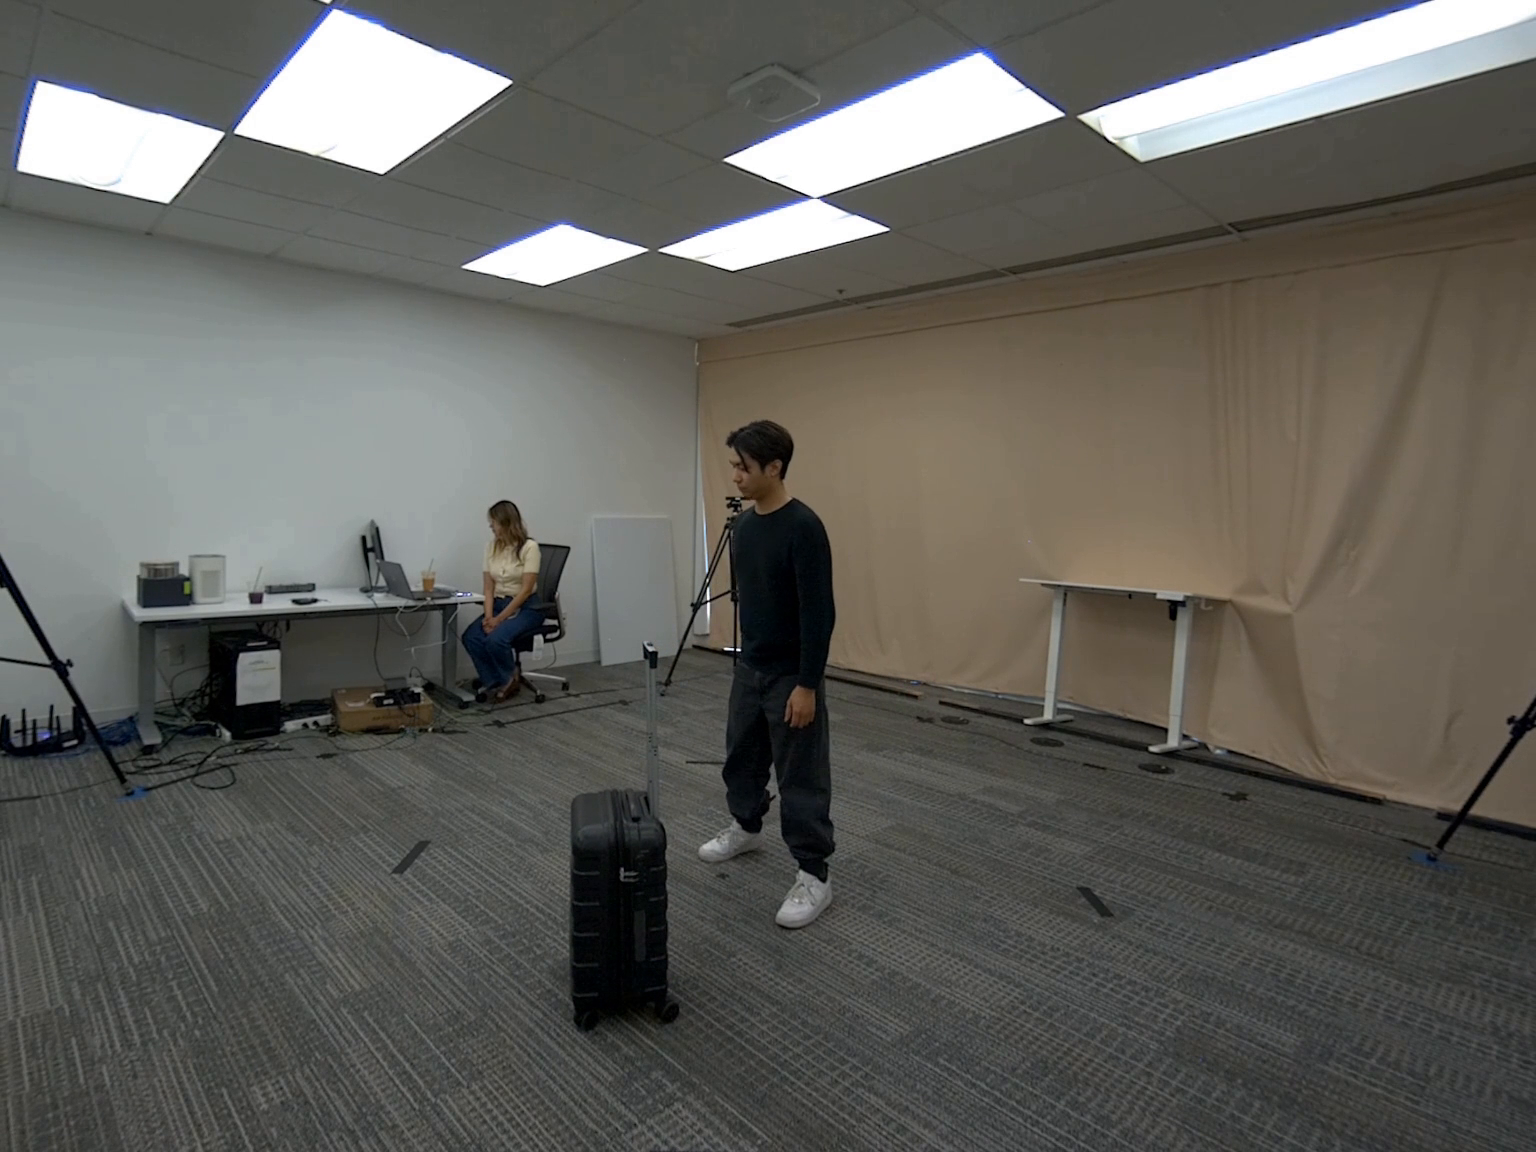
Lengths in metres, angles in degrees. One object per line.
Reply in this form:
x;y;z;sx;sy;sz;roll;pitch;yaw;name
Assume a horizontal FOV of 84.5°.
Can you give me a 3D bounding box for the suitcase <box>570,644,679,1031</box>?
-0.428;0.698;2.314;0.254;0.976;0.389;-2;4;-13;suitcase
